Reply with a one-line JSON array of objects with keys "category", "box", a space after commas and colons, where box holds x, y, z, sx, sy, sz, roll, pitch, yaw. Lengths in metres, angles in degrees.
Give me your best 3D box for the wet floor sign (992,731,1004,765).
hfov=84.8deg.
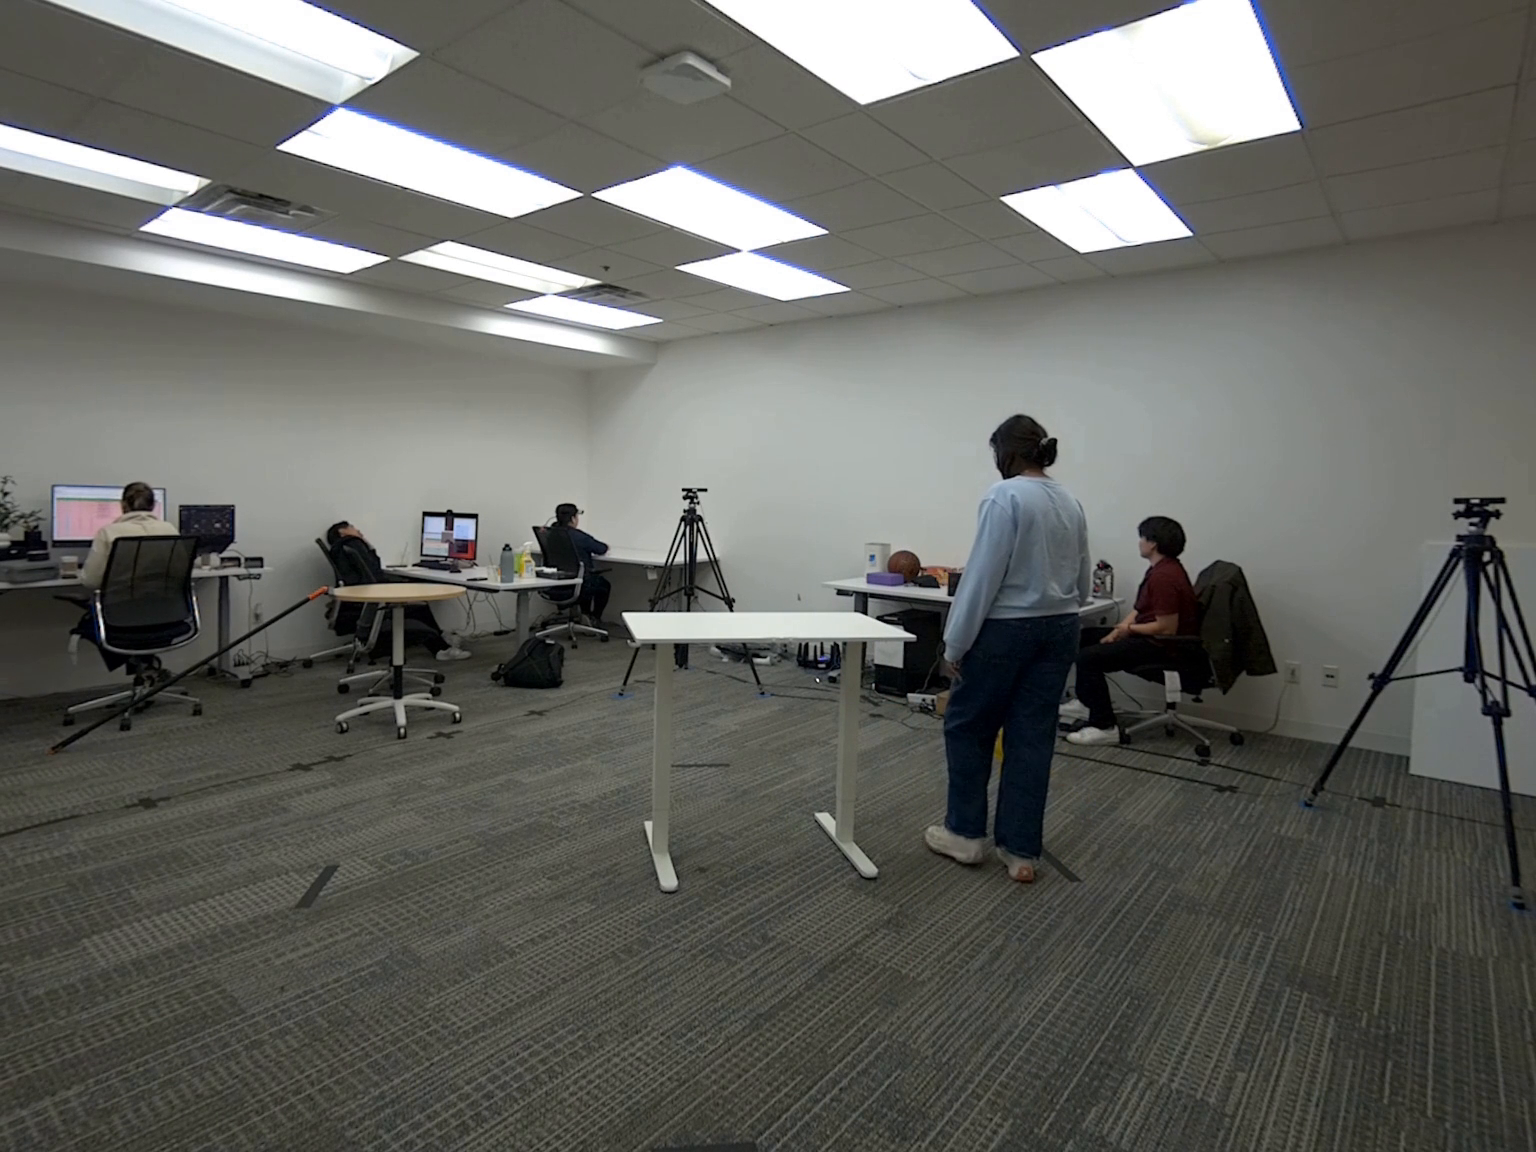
[{"category": "wet floor sign", "box": [1.005, 0.482, 3.513, 0.281, 0.643, 0.292, 2, 6, -31]}]
